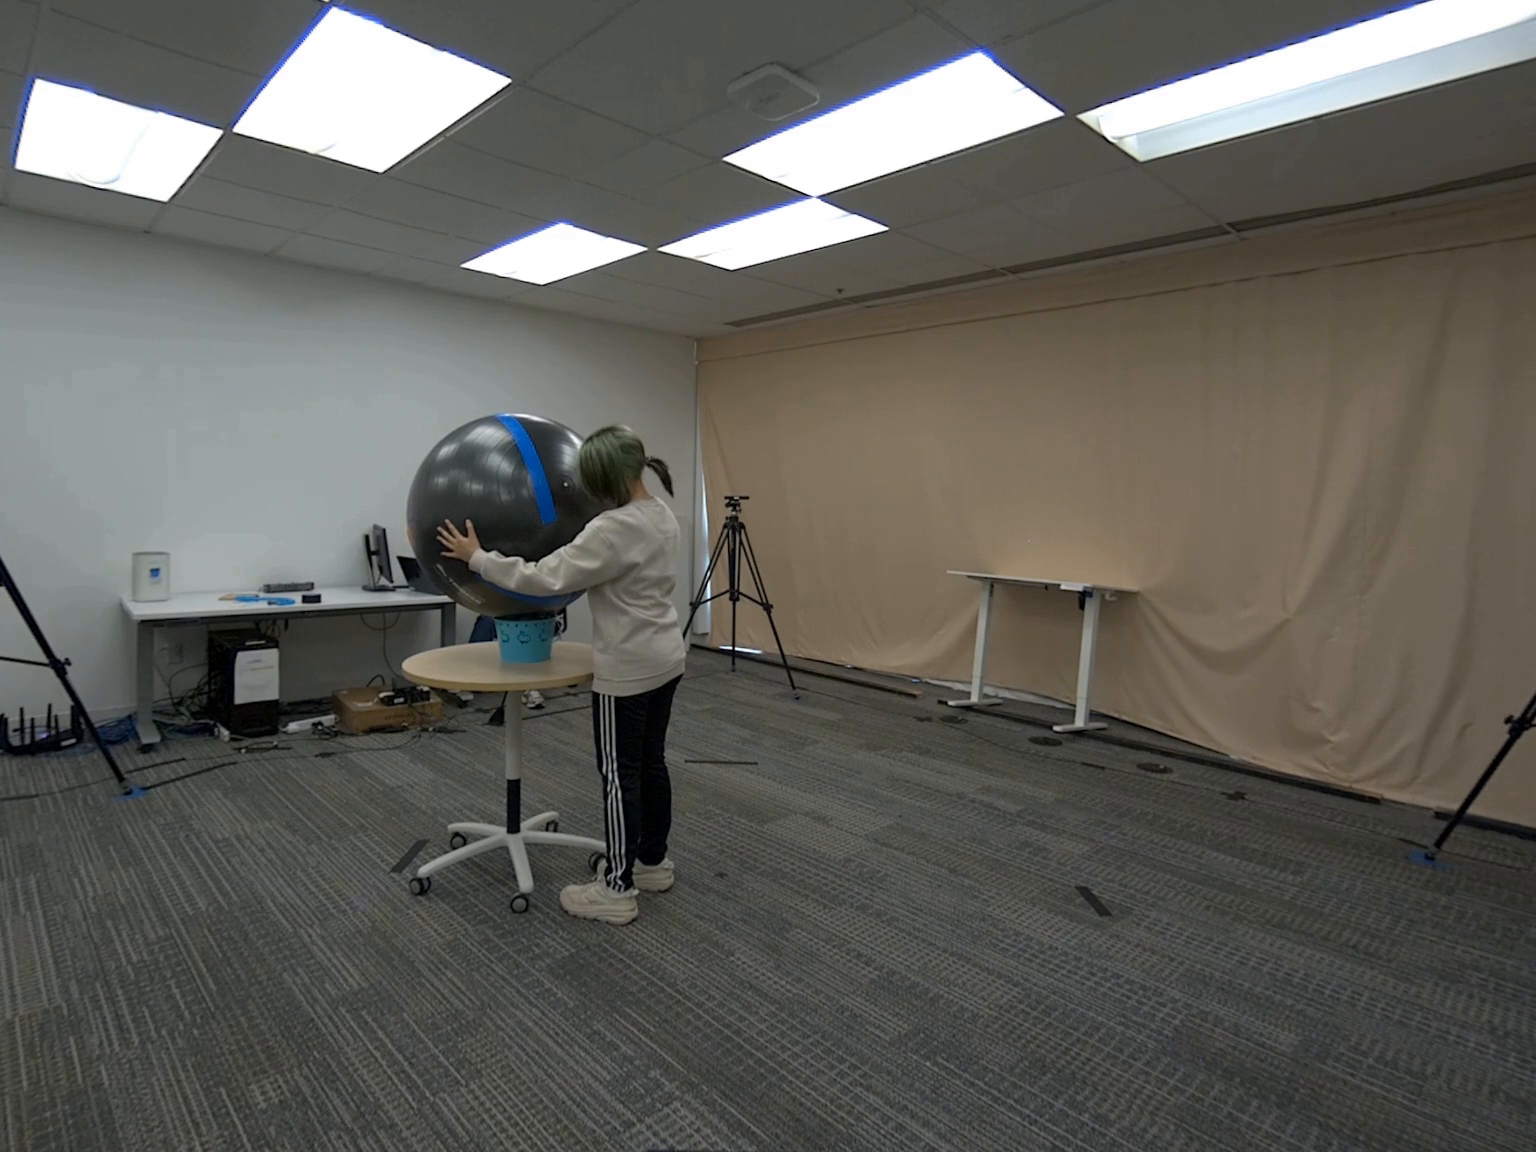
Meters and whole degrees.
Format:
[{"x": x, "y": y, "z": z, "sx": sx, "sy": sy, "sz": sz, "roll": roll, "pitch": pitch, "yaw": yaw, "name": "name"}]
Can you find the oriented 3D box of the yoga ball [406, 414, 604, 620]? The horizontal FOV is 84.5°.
[{"x": -0.933, "y": -0.215, "z": 3.109, "sx": 0.757, "sy": 0.756, "sz": 0.761, "roll": 1, "pitch": 4, "yaw": -1, "name": "yoga ball"}]
